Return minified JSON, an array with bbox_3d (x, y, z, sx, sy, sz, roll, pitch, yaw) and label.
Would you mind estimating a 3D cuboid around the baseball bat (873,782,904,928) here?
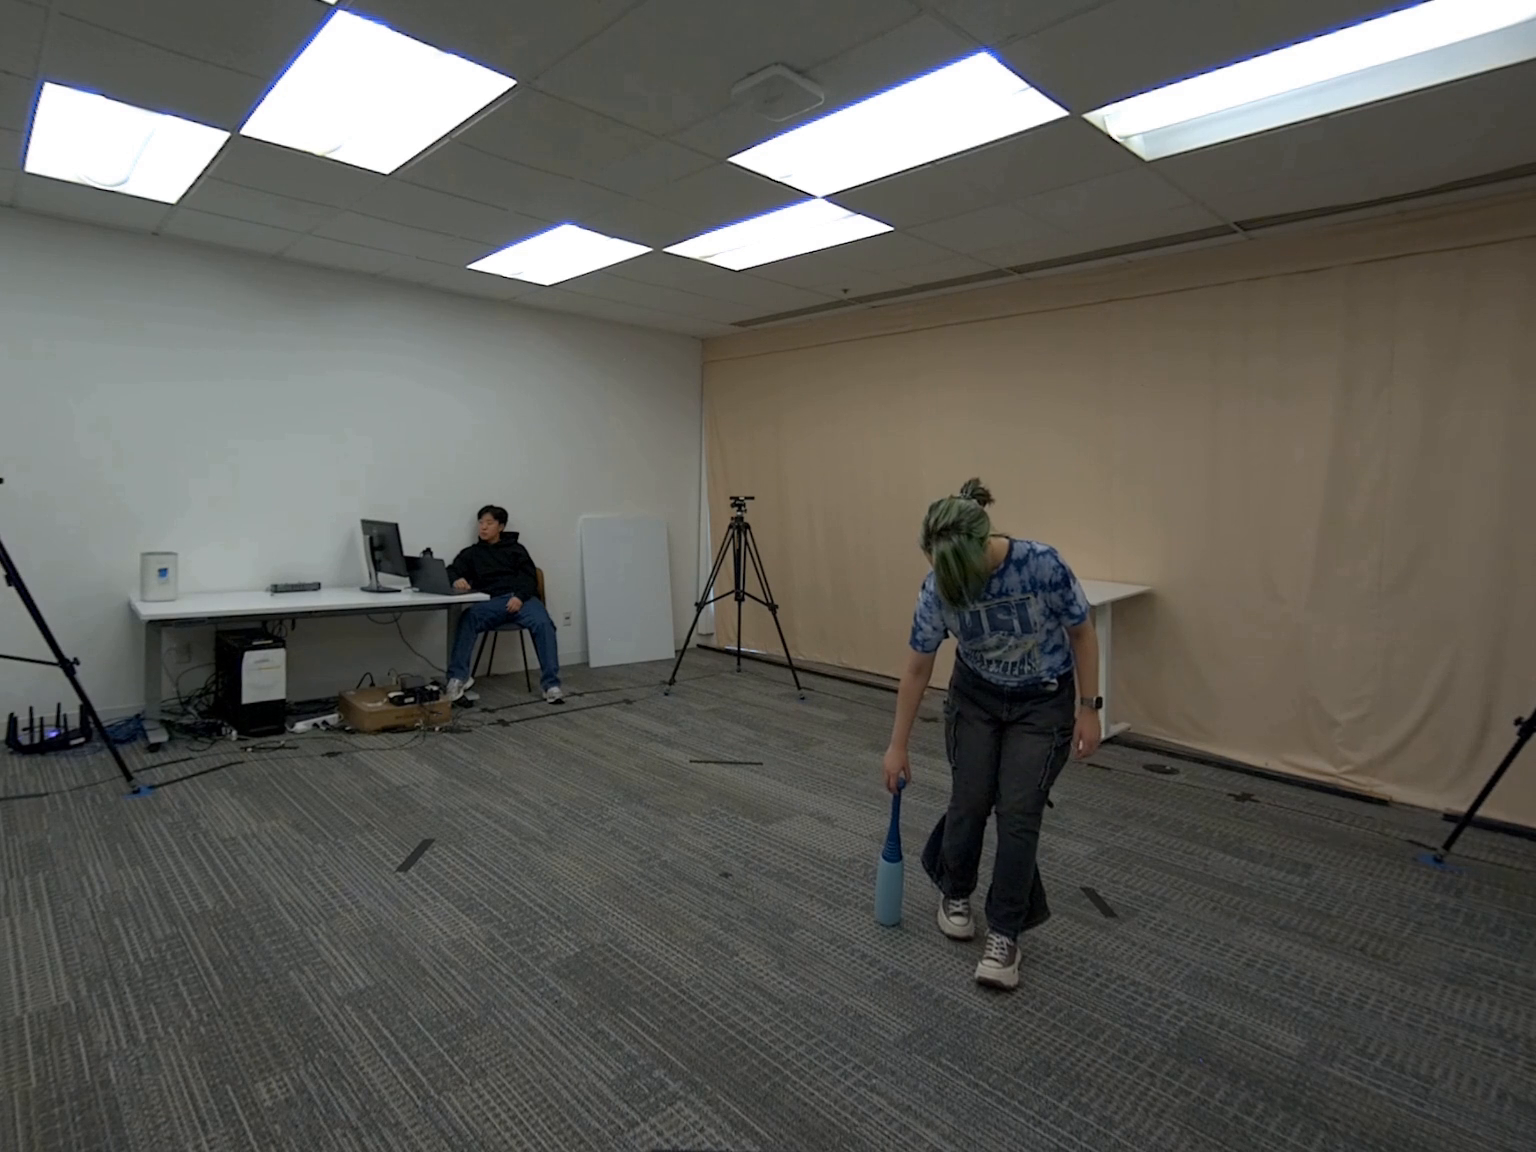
[{"bbox_3d":[0.400,0.885,2.710,0.089,0.536,0.090,1,18,-2],"label":"baseball bat"}]
